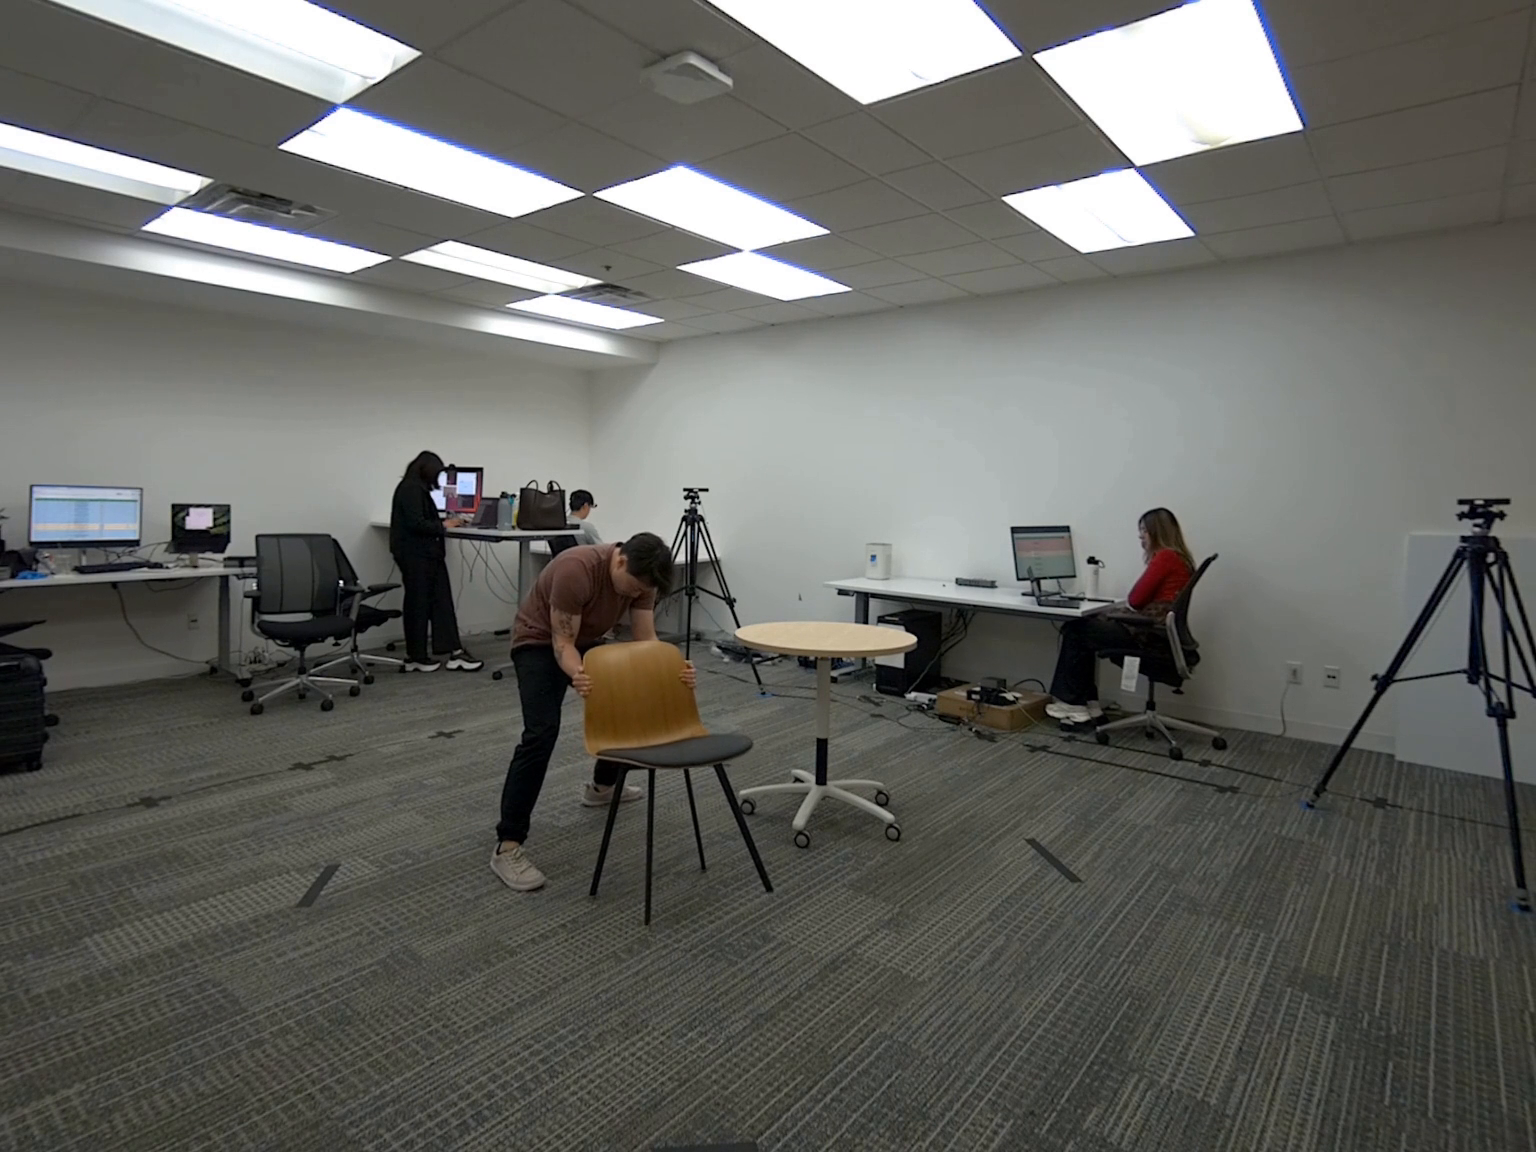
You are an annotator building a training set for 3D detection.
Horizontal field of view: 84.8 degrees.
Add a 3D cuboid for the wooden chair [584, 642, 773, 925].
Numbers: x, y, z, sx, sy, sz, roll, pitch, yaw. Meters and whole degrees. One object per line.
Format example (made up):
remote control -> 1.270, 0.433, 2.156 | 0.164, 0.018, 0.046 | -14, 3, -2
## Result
wooden chair -> -0.339, 0.627, 2.853 | 0.465, 0.888, 0.531 | -1, -13, -32
